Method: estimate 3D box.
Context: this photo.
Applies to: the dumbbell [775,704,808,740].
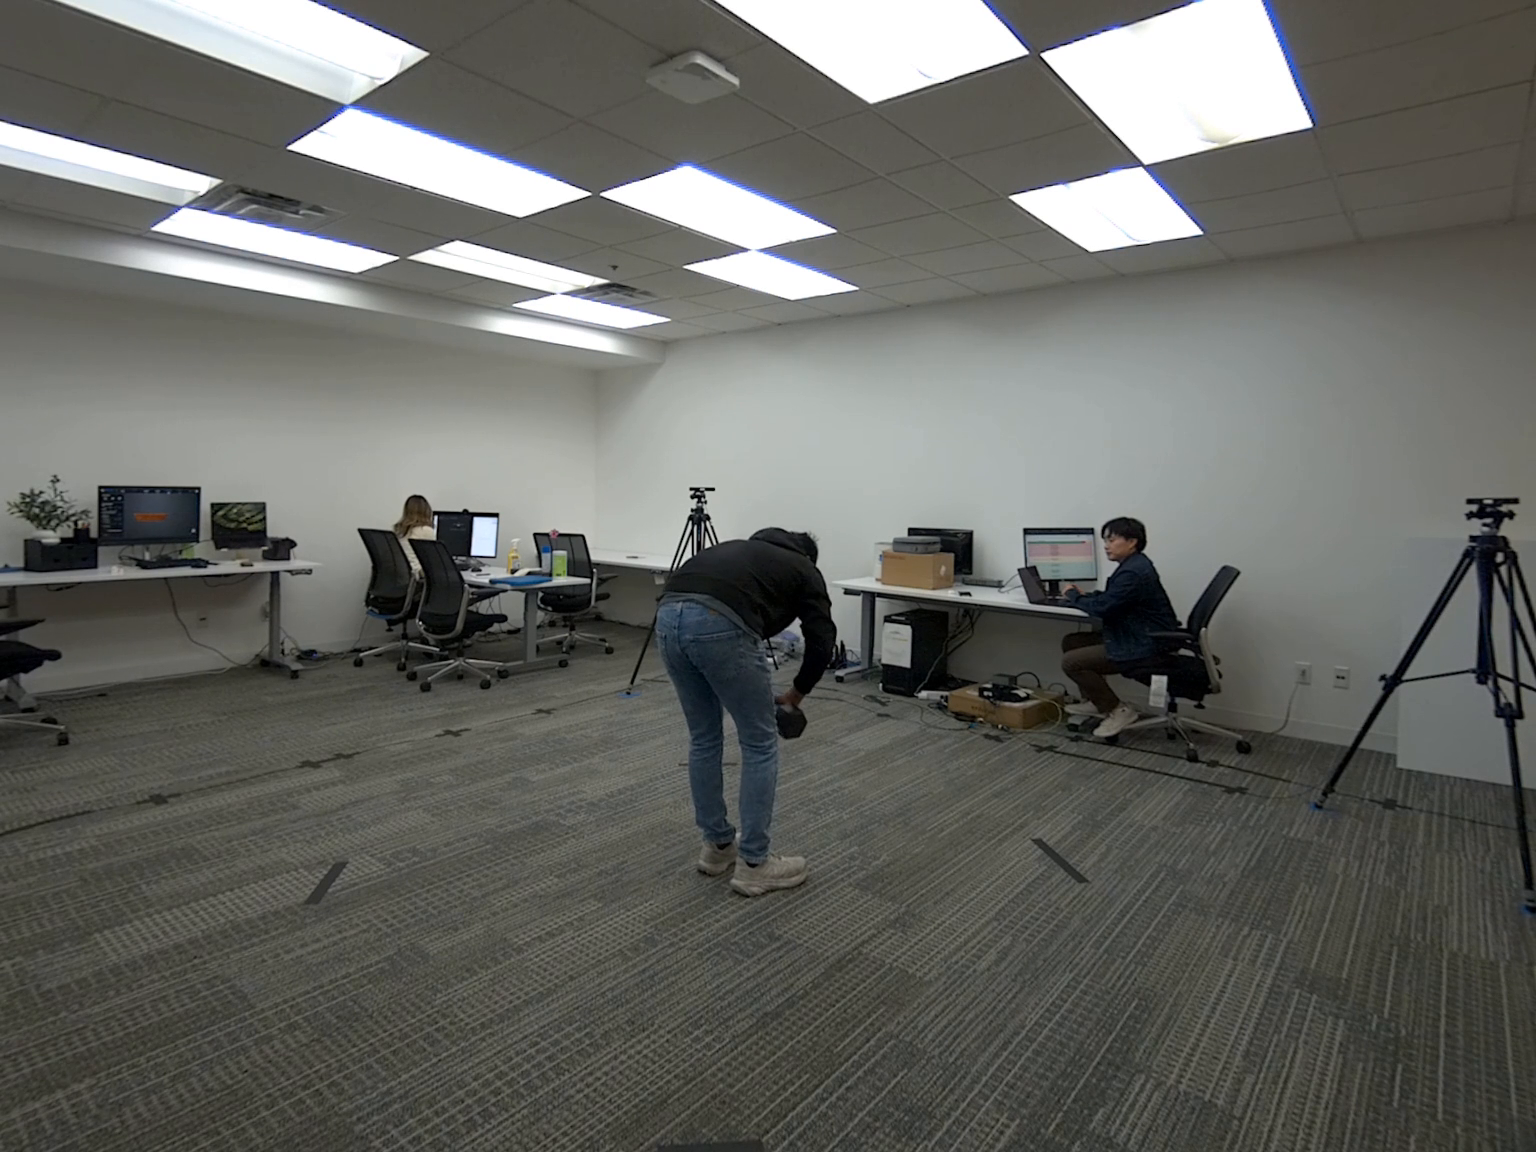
[{"bbox_3d":[0.022,0.502,3.186,0.108,0.119,0.304,-32,25,-18],"label":"dumbbell"}]
